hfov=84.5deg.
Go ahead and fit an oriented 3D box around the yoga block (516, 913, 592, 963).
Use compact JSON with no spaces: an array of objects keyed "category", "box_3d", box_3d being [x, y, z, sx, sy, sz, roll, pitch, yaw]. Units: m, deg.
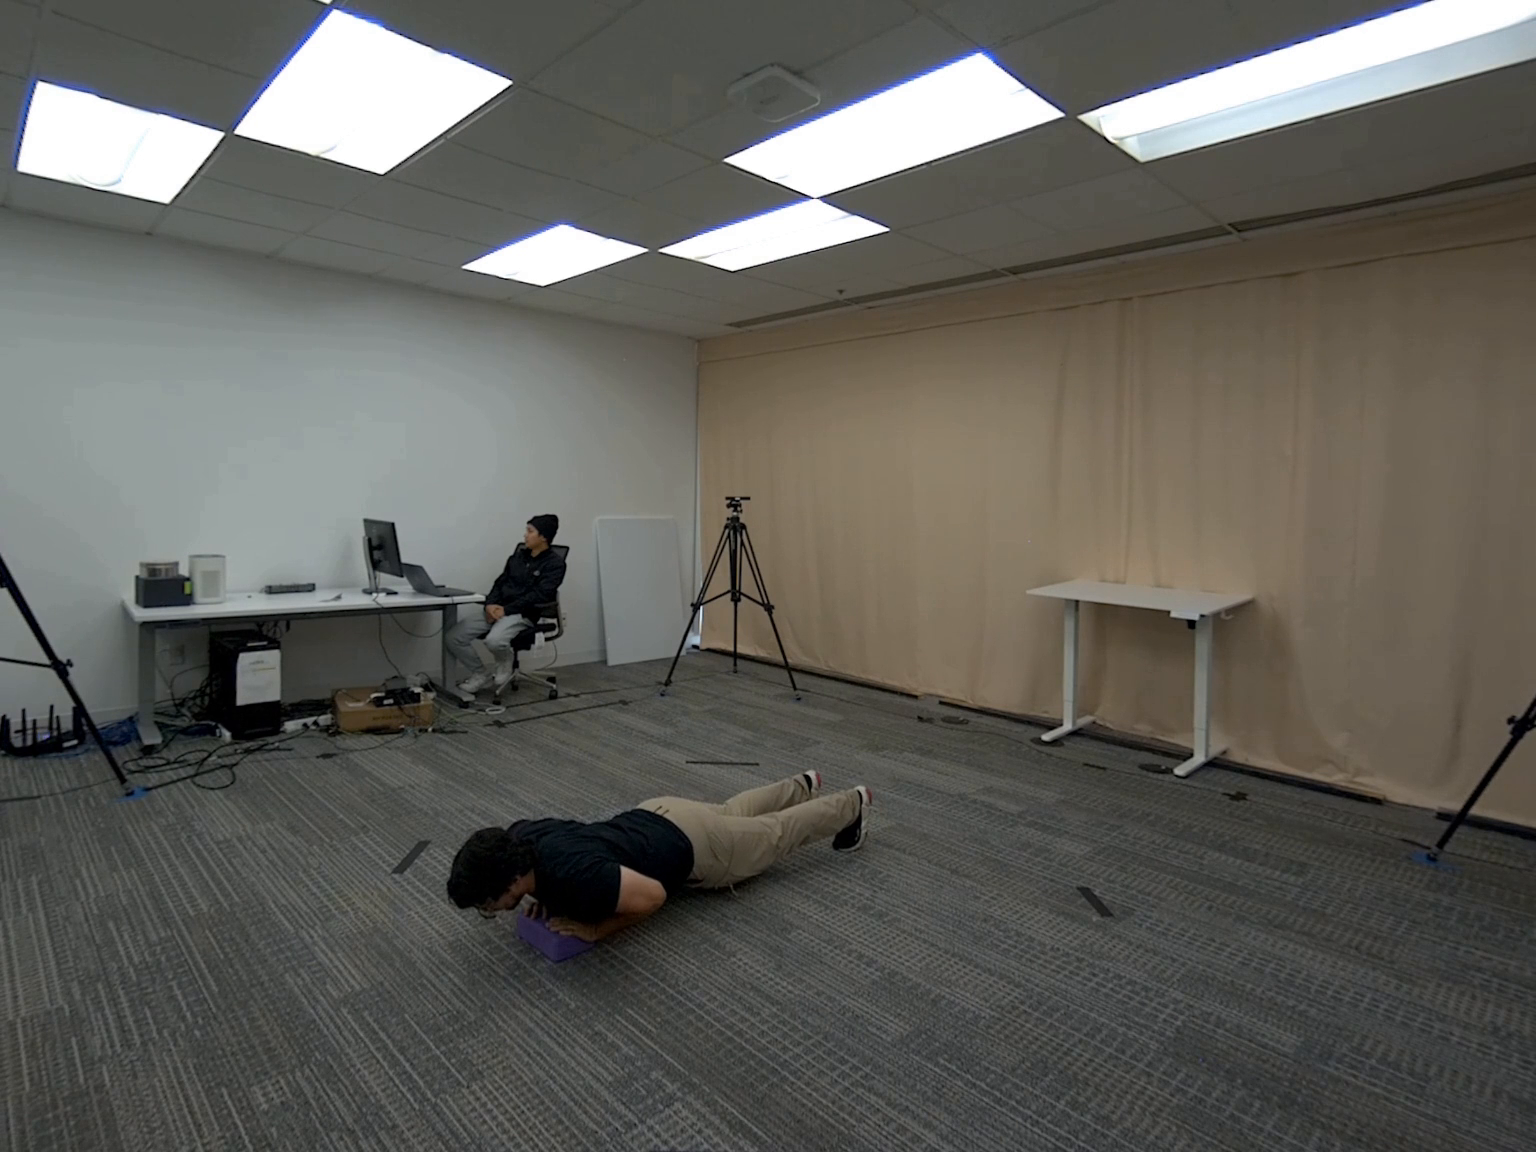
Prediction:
[{"category":"yoga block","box_3d":[-0.671,1.100,2.630,0.235,0.076,0.145,5,2,43]}]
